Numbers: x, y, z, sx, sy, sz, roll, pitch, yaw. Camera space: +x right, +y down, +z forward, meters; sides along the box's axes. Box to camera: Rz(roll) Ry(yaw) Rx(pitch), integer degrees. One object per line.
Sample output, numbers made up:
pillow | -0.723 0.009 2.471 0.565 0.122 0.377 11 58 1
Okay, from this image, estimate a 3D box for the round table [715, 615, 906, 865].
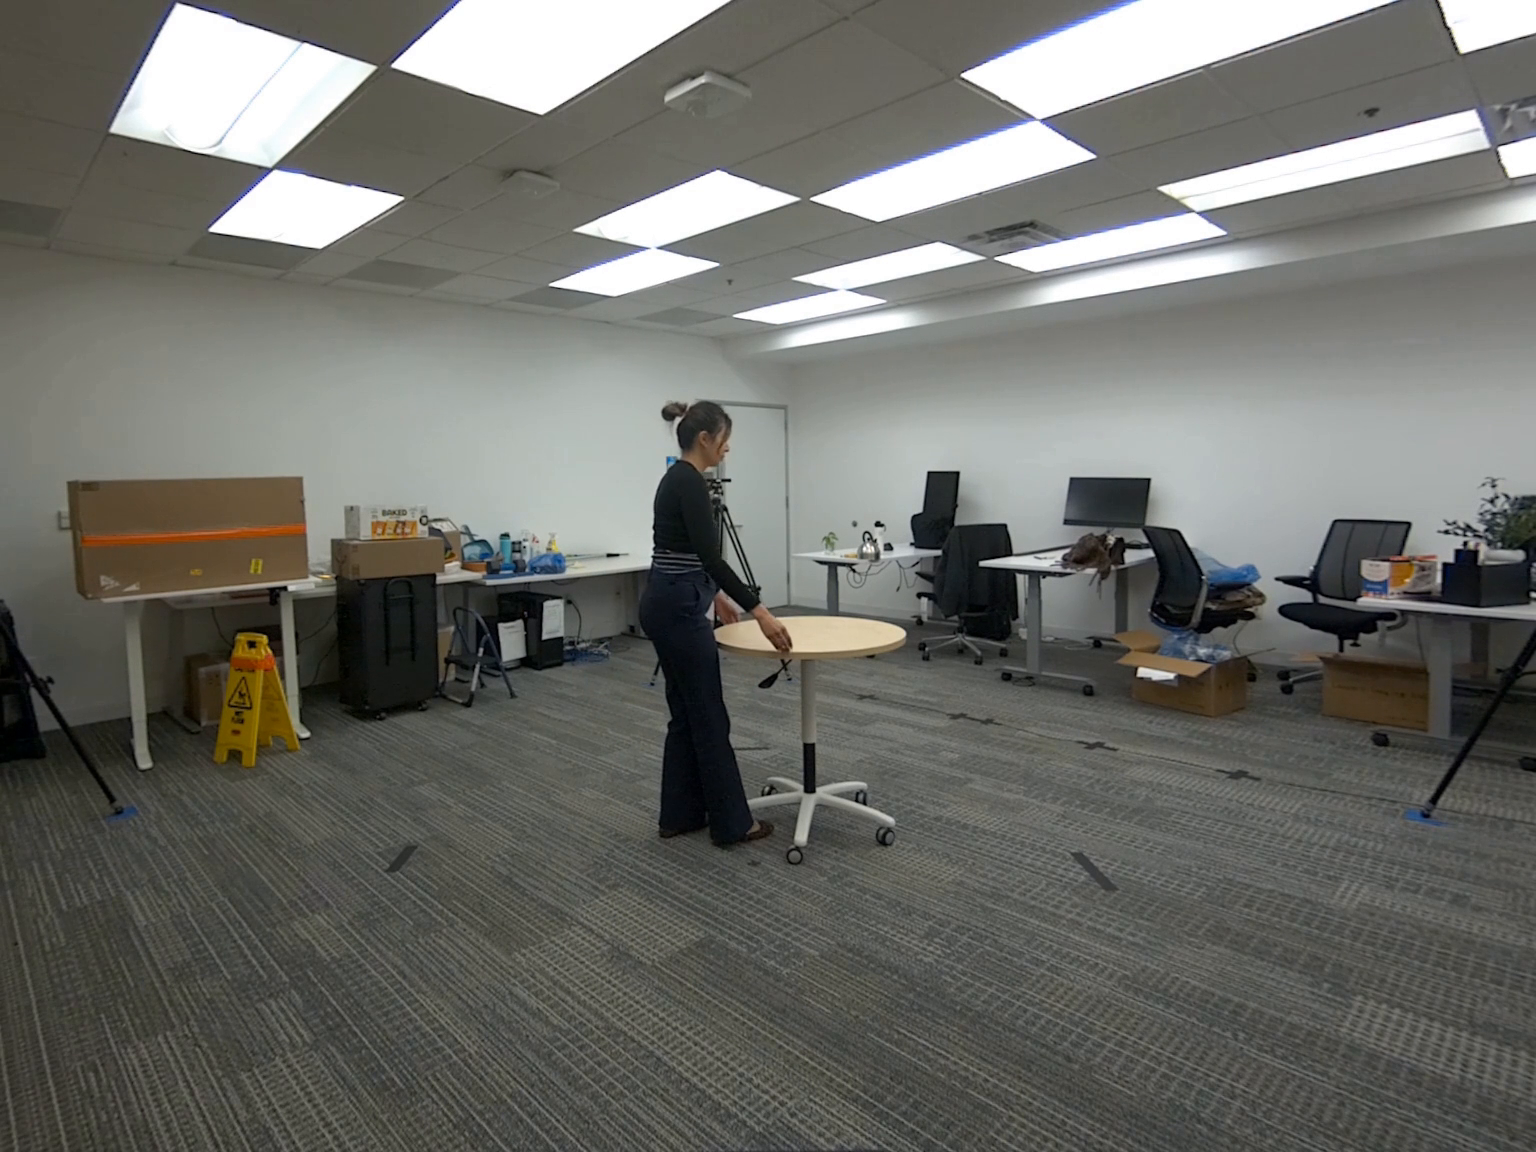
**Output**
round table | 0.164 0.616 3.408 0.763 0.791 0.768 -1 5 -2
